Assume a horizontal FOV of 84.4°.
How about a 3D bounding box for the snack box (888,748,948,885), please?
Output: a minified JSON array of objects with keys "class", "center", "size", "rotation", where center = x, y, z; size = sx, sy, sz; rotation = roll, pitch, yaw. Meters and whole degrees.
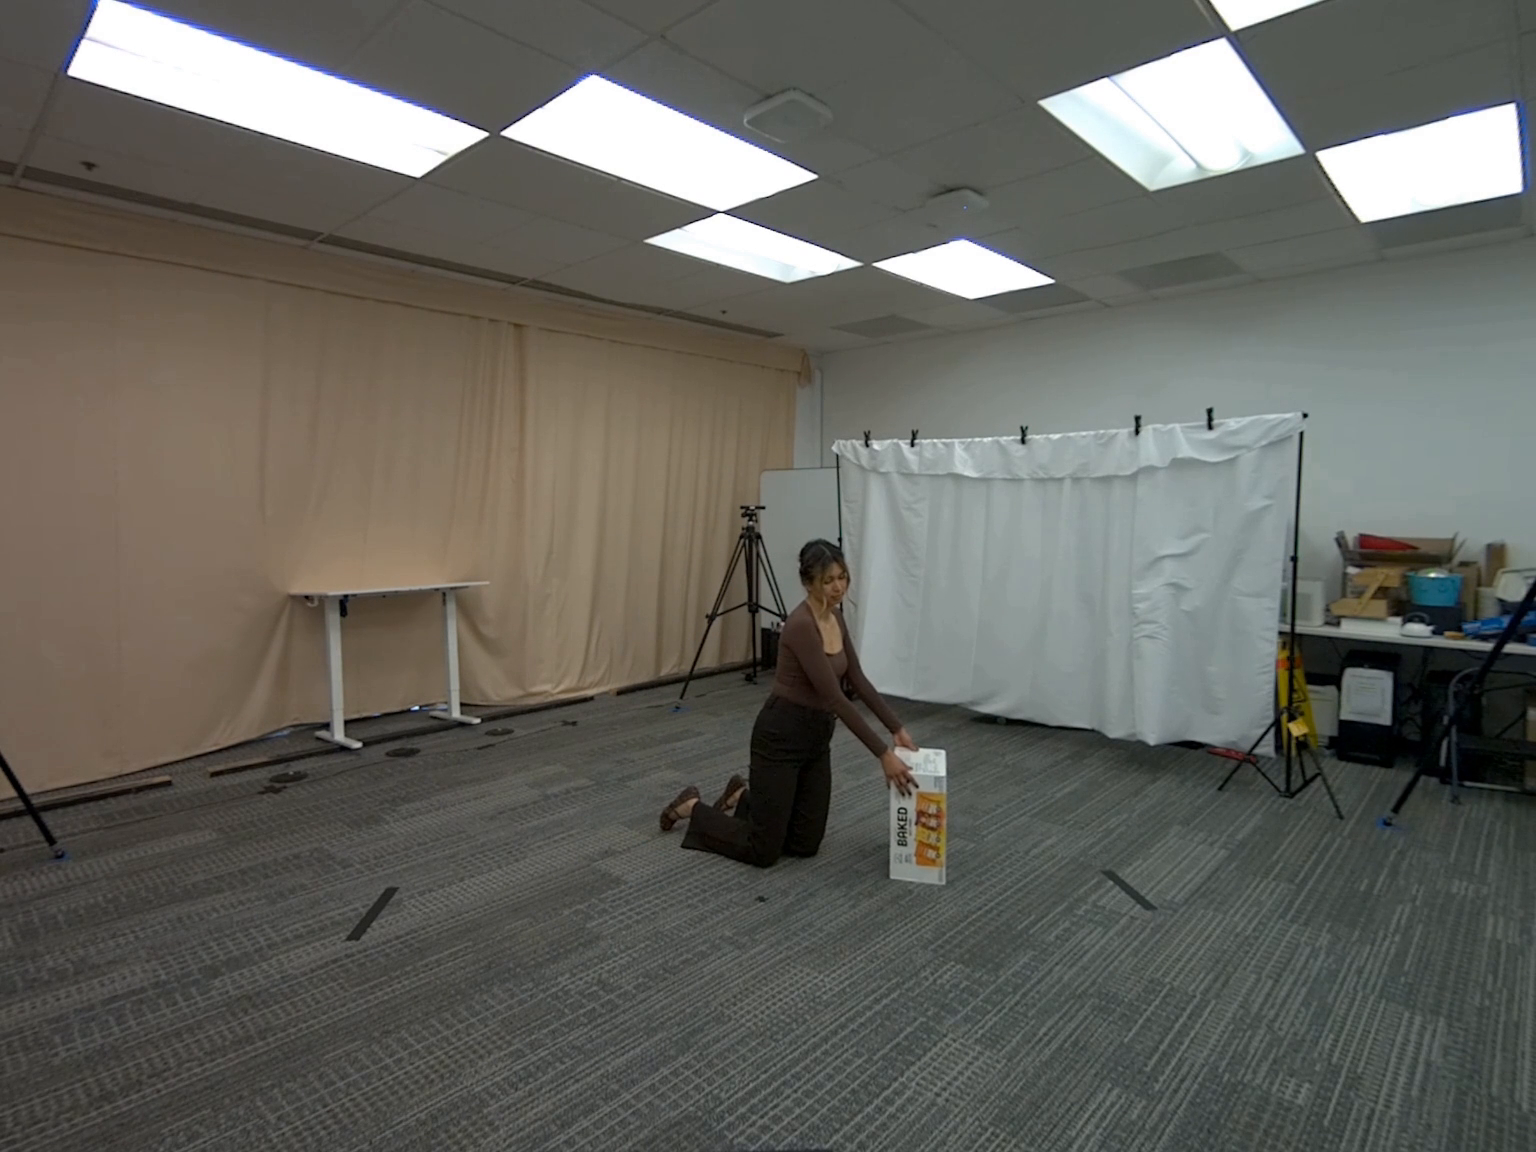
[{"class":"snack box","center":[0.583,0.914,3.272],"size":[0.209,0.404,0.336],"rotation":[1,3,12]}]
